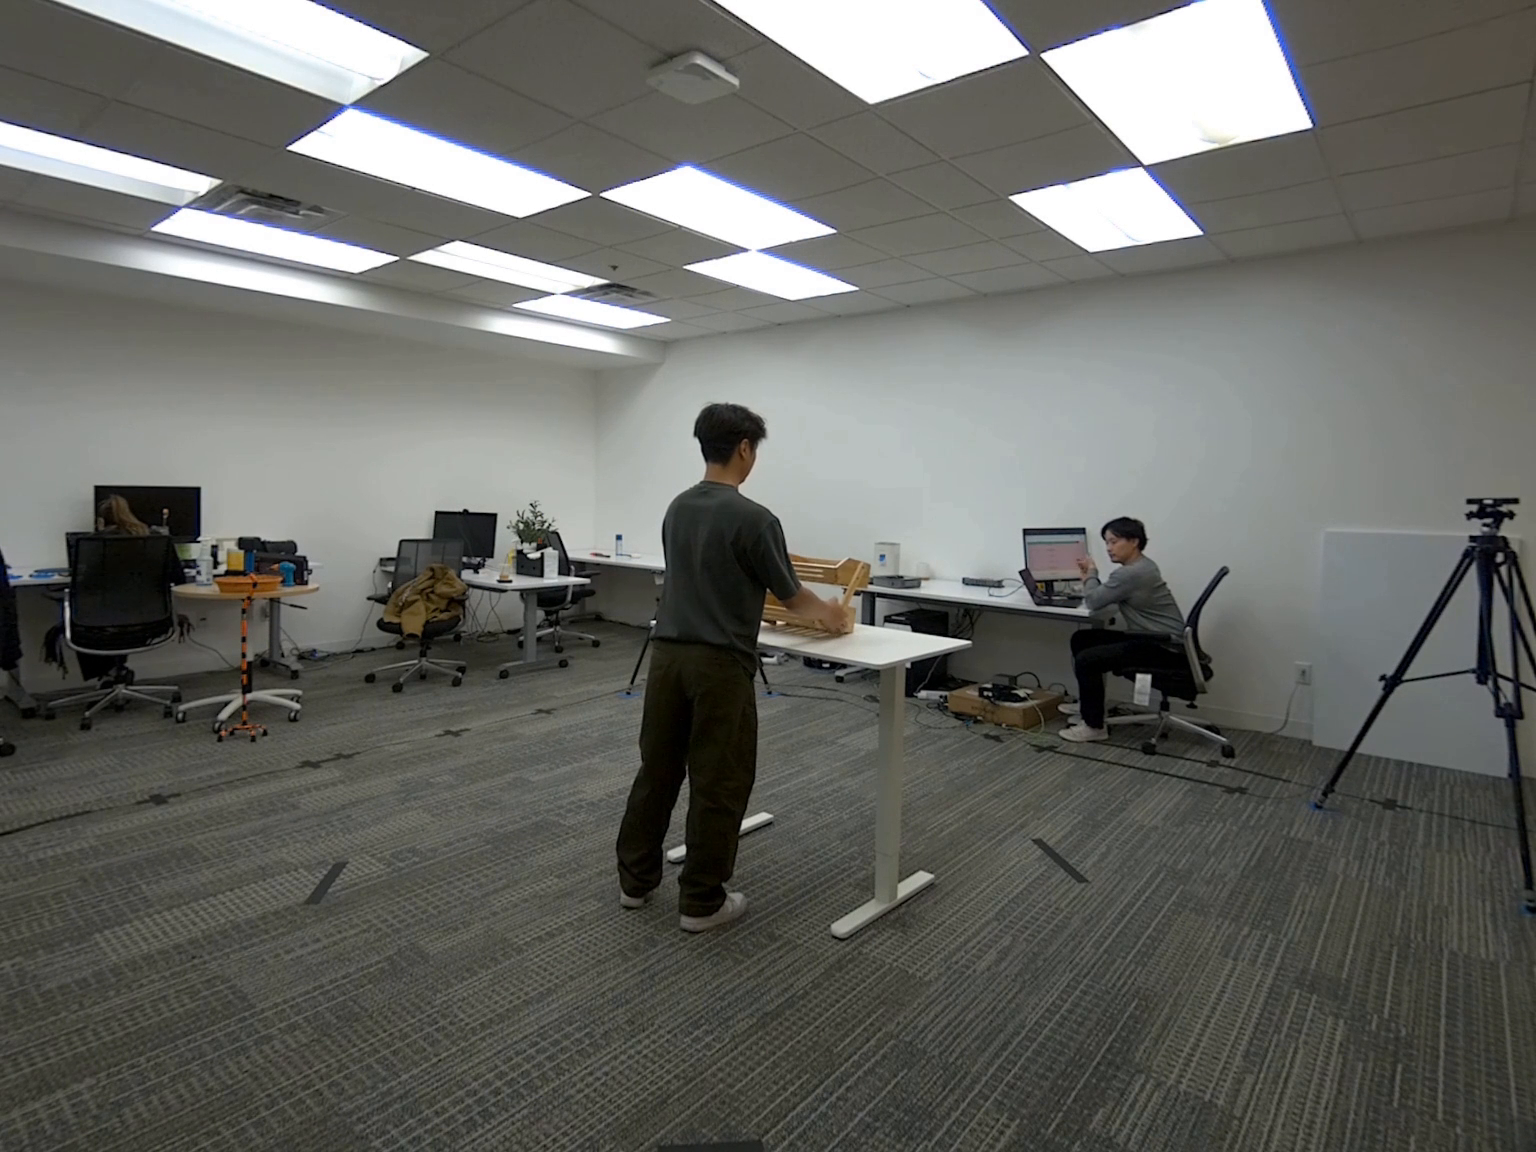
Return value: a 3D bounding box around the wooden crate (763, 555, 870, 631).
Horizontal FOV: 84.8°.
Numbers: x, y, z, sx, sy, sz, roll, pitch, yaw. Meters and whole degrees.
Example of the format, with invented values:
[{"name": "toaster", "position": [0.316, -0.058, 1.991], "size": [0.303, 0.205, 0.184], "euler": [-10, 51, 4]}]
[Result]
[{"name": "wooden crate", "position": [0.143, 0.045, 3.098], "size": [0.335, 0.274, 0.291], "euler": [6, -5, 40]}]
